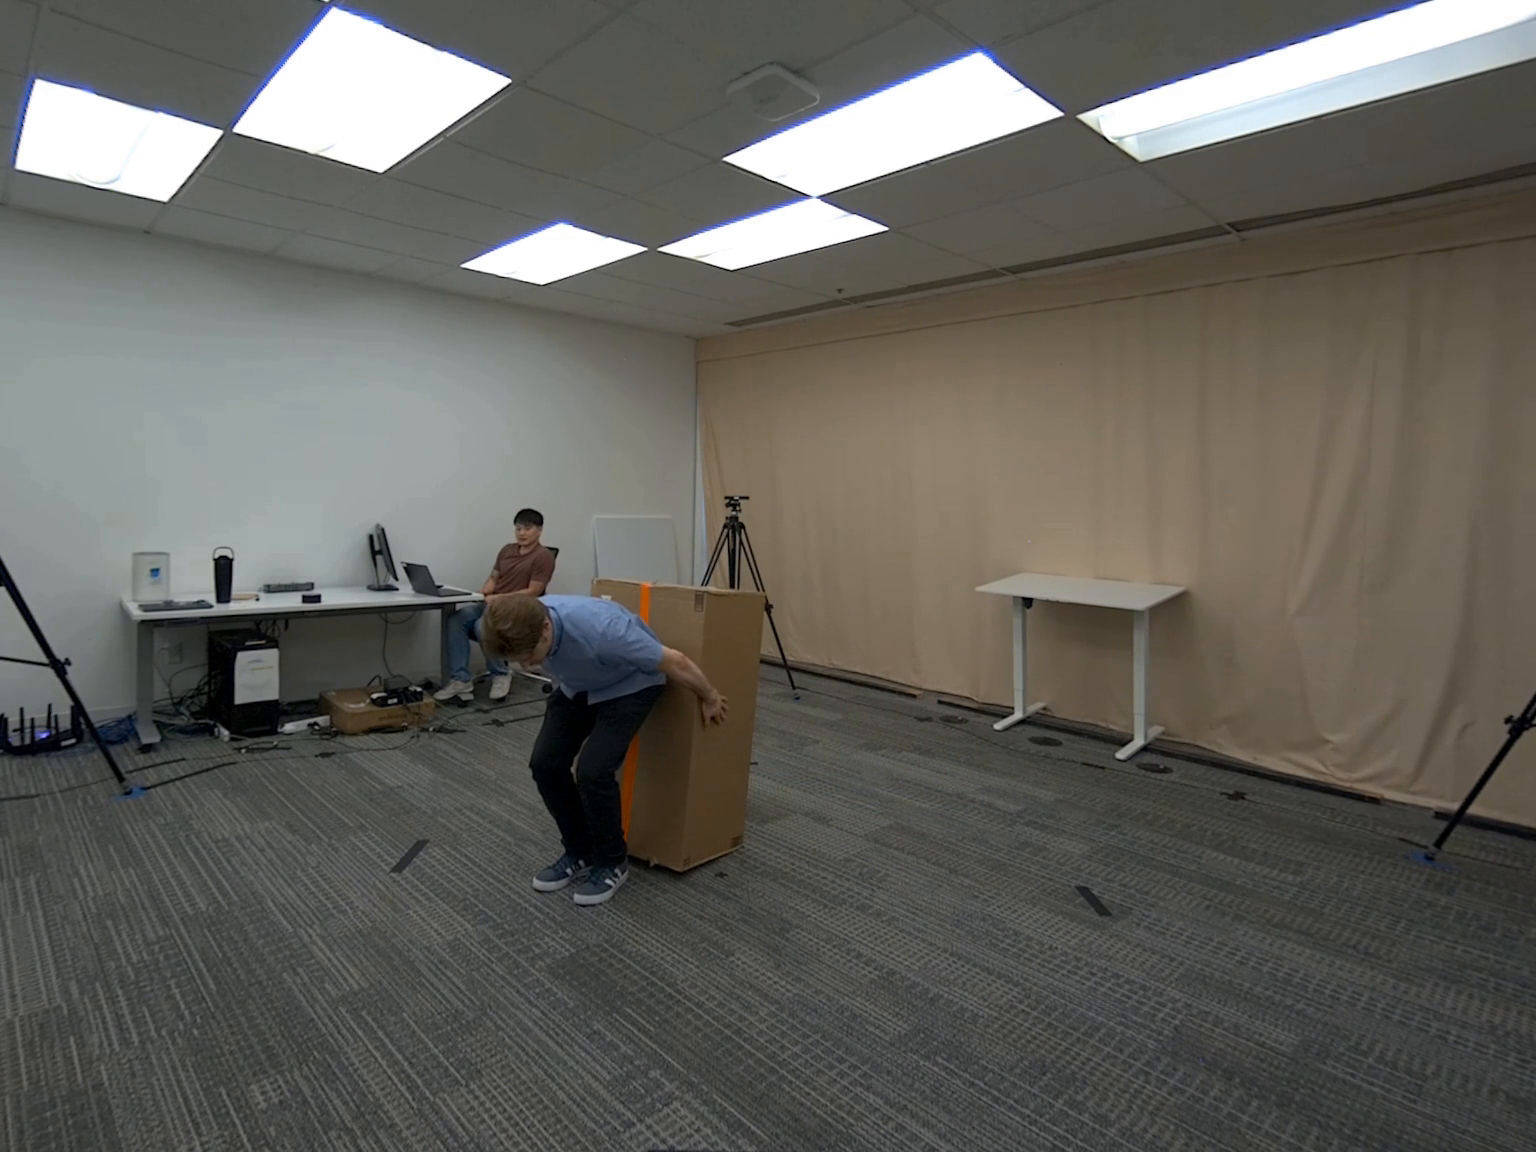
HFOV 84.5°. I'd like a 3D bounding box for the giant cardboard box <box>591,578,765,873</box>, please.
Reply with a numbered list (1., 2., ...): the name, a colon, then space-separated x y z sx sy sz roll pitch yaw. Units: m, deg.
1. giant cardboard box: -0.408 0.553 3.374 0.597 1.028 0.436 4 -2 32
